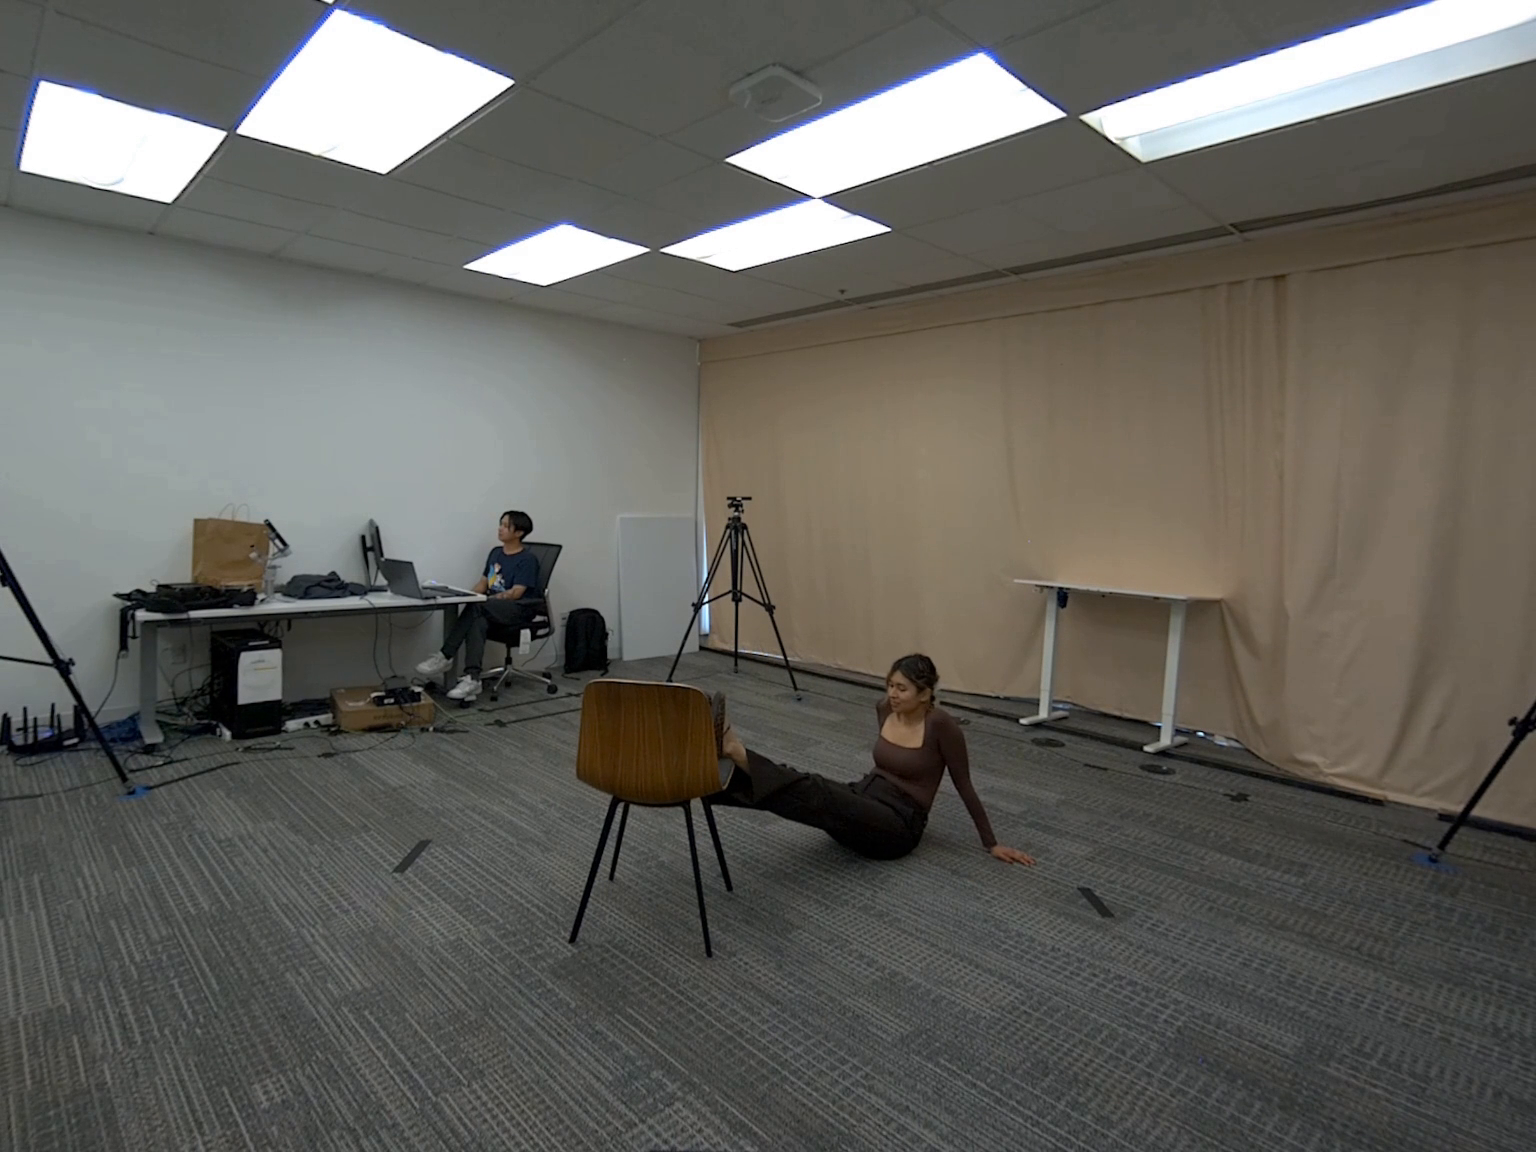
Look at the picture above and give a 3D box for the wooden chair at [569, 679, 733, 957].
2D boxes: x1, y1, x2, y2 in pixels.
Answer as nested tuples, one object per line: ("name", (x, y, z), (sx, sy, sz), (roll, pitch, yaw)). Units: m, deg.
("wooden chair", (-0.364, 0.705, 2.770), (0.481, 0.873, 0.522), (2, 7, 7))
